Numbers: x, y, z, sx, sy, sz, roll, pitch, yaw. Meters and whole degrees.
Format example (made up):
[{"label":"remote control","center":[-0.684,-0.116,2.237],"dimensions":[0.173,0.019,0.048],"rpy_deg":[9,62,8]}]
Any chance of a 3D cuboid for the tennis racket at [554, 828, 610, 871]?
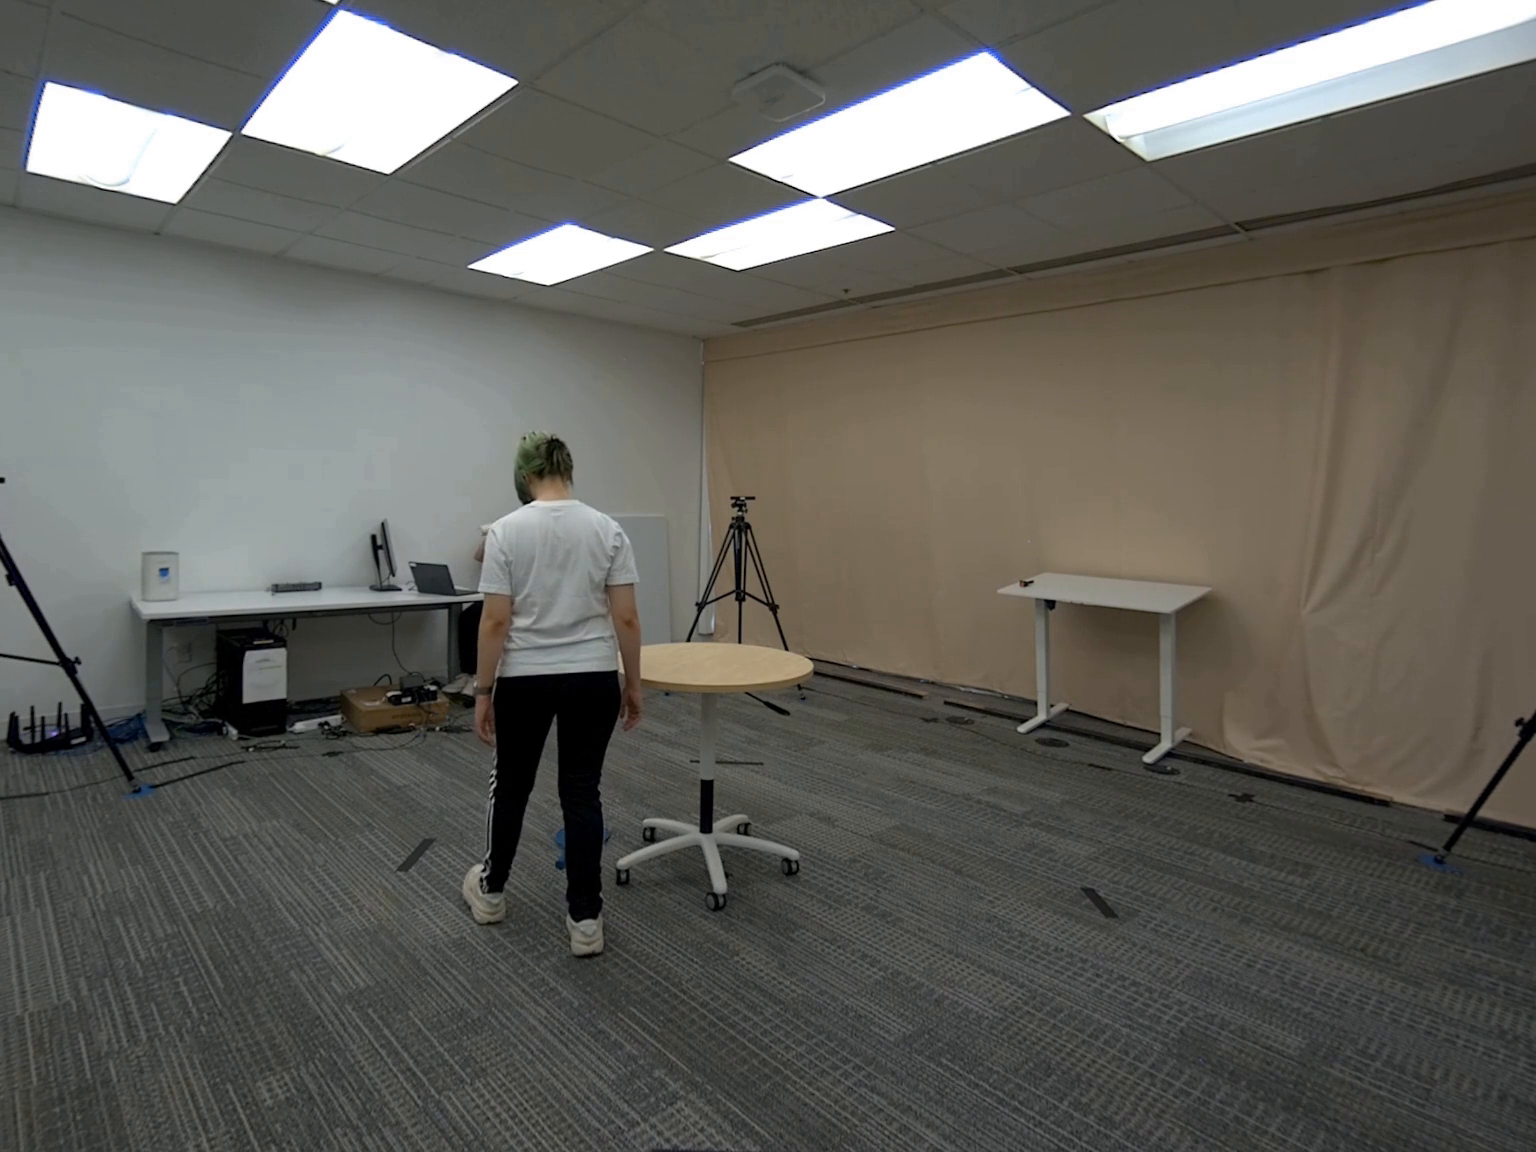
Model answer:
[{"label":"tennis racket","center":[-0.752,1.056,3.329],"dimensions":[0.214,0.032,0.432],"rpy_deg":[2,4,3]}]
